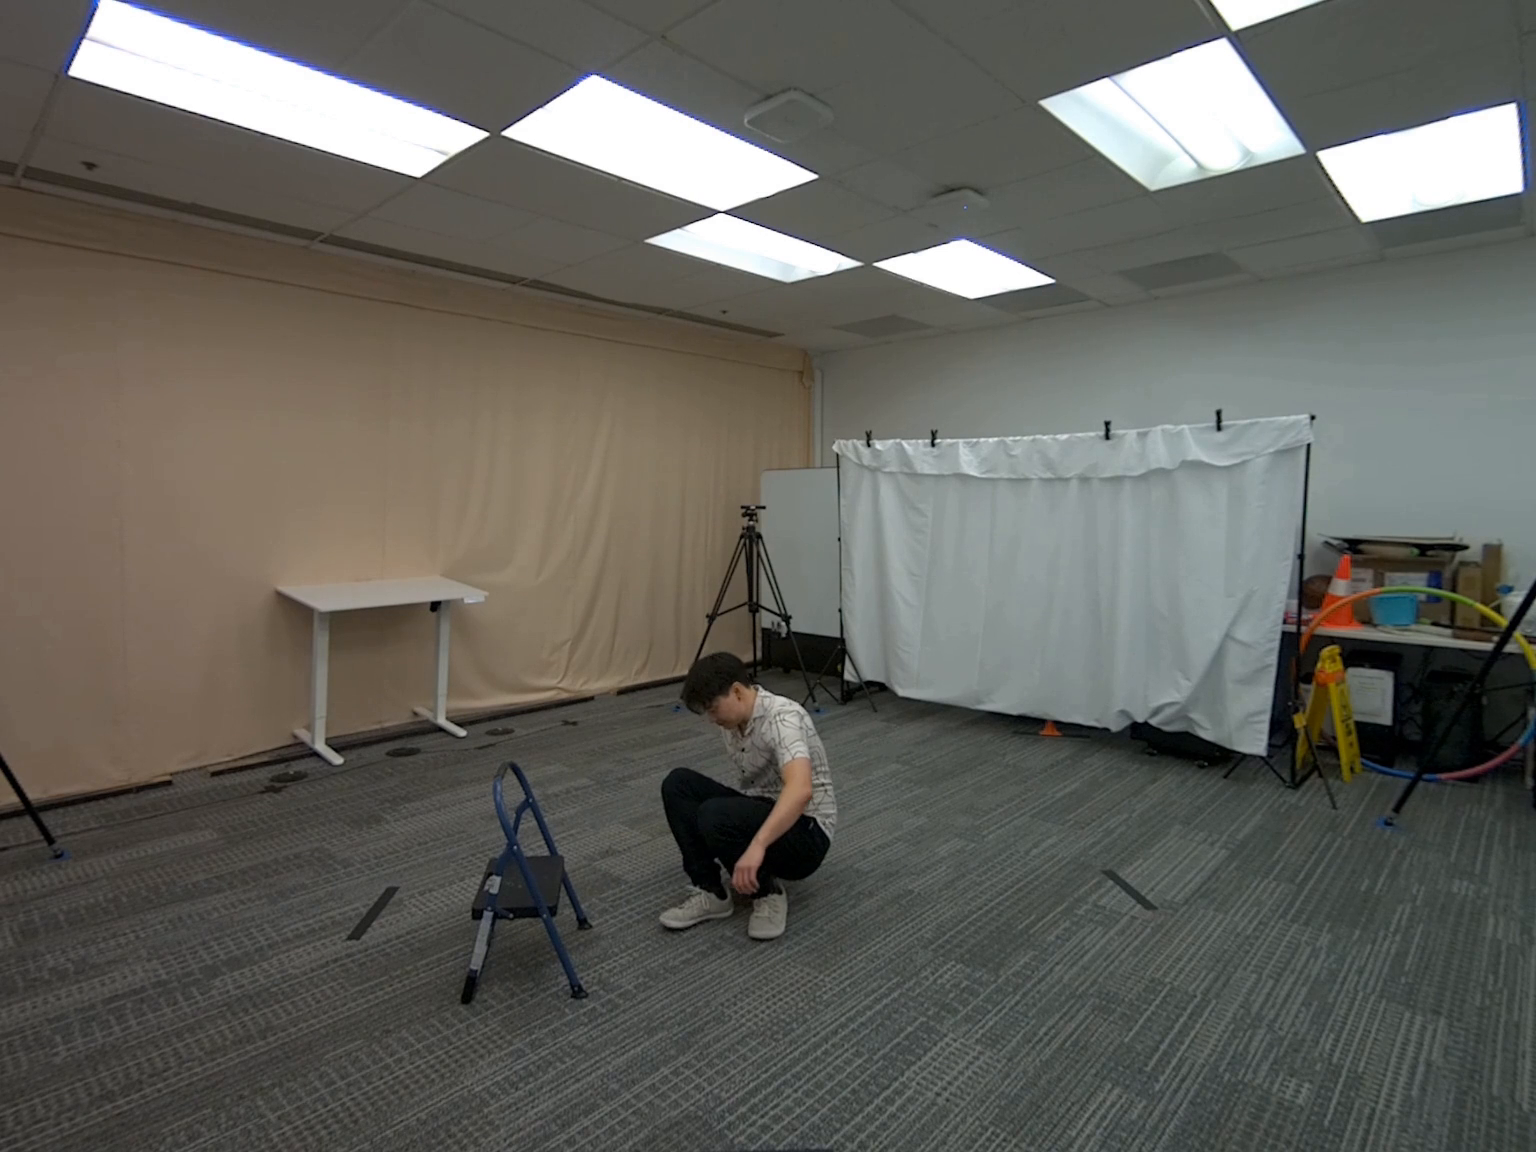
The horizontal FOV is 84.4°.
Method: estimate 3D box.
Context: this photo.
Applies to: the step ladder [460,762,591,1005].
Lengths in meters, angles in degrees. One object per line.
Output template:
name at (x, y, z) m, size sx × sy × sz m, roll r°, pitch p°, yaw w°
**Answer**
step ladder at (-0.727, 0.886, 2.555) m, size 0.346 × 0.605 × 0.435 m, roll 0°, pitch 3°, yaw -9°
